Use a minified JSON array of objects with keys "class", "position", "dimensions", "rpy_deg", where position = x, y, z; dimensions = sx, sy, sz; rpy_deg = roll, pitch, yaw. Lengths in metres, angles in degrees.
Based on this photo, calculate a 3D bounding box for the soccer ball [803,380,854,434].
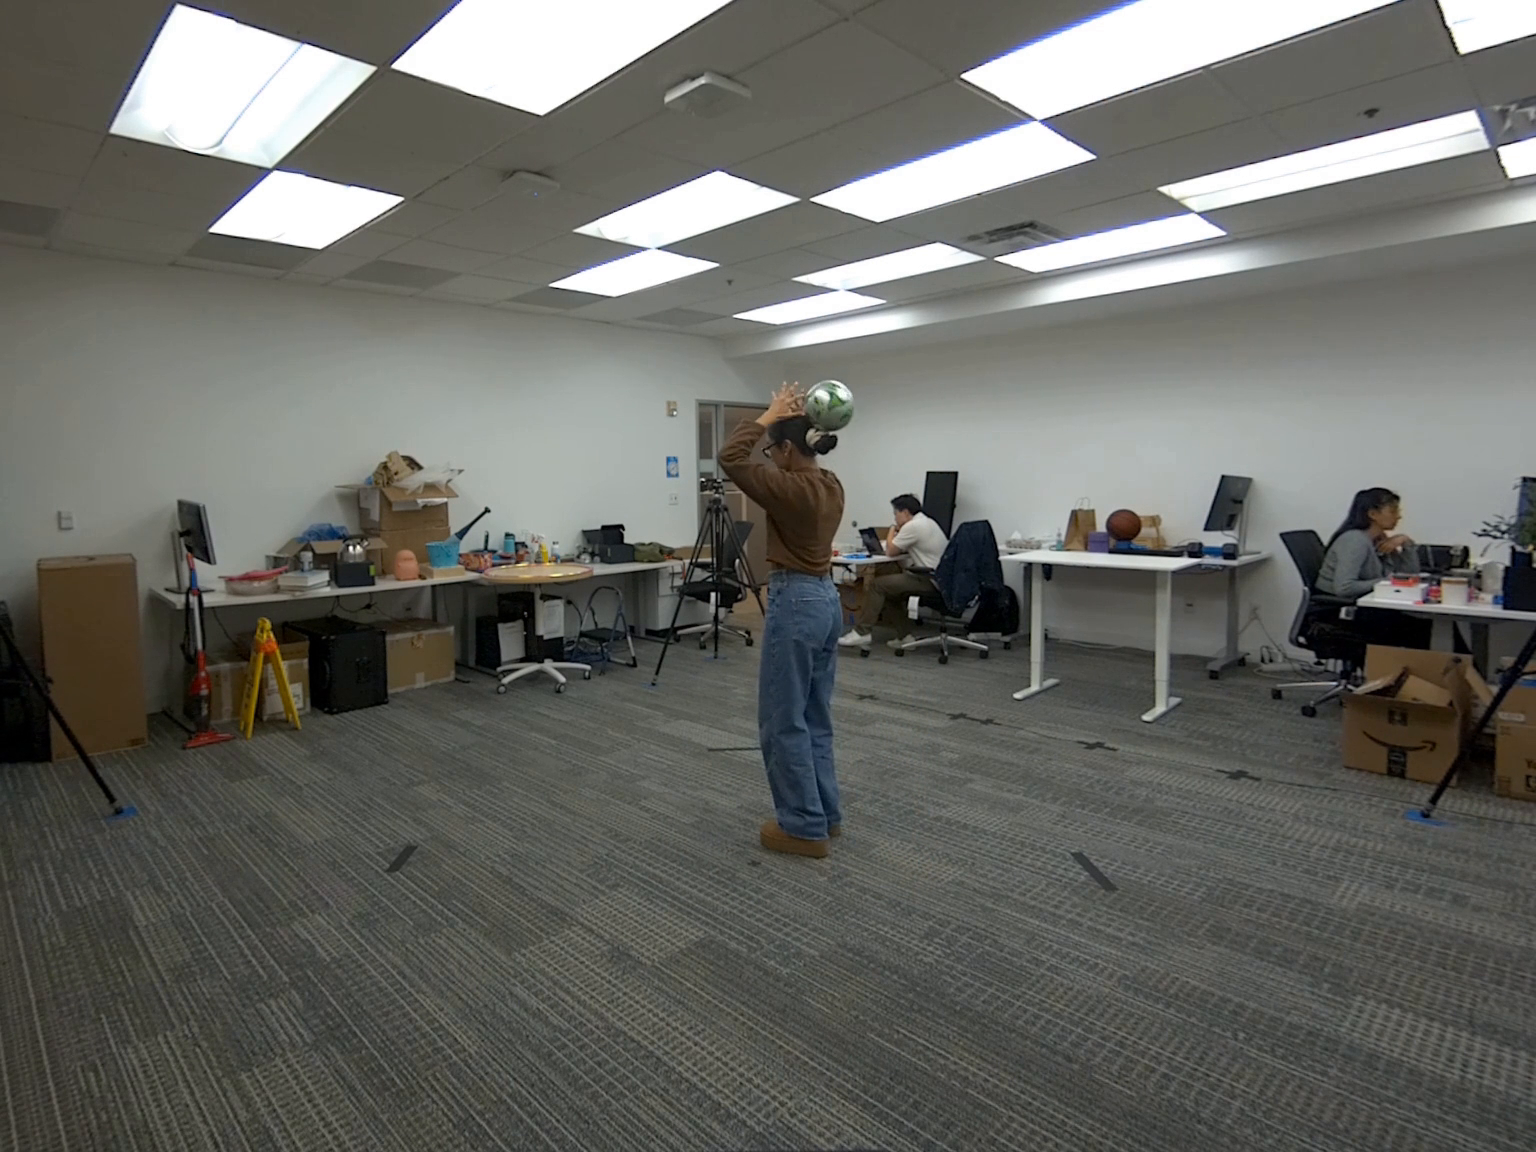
[{"class":"soccer ball","position":[0.239,-0.616,3.146],"dimensions":[0.187,0.187,0.188],"rpy_deg":[-1,5,-2]}]
